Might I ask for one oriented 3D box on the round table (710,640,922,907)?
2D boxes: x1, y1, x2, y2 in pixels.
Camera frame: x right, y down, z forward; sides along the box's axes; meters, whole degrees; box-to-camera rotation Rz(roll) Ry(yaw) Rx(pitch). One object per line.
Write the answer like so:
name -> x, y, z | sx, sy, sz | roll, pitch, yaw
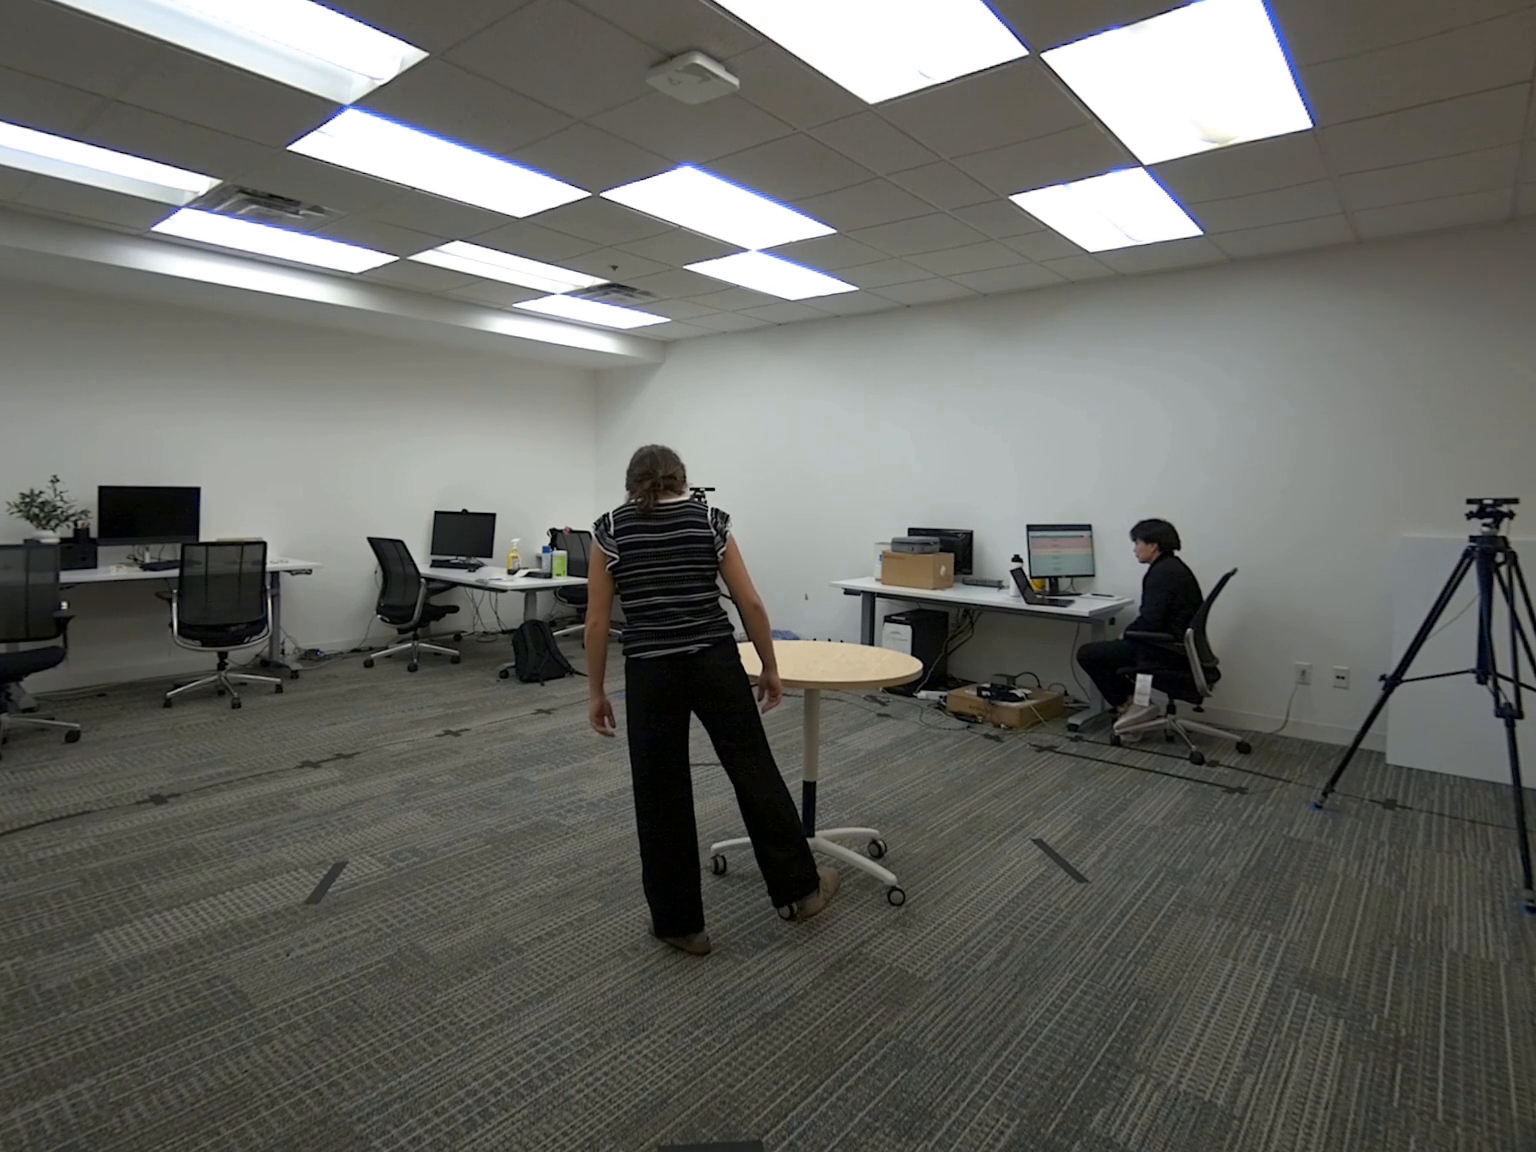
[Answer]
round table -> 0.157, 0.685, 3.057 | 0.784, 0.784, 0.789 | 1, 4, -2
